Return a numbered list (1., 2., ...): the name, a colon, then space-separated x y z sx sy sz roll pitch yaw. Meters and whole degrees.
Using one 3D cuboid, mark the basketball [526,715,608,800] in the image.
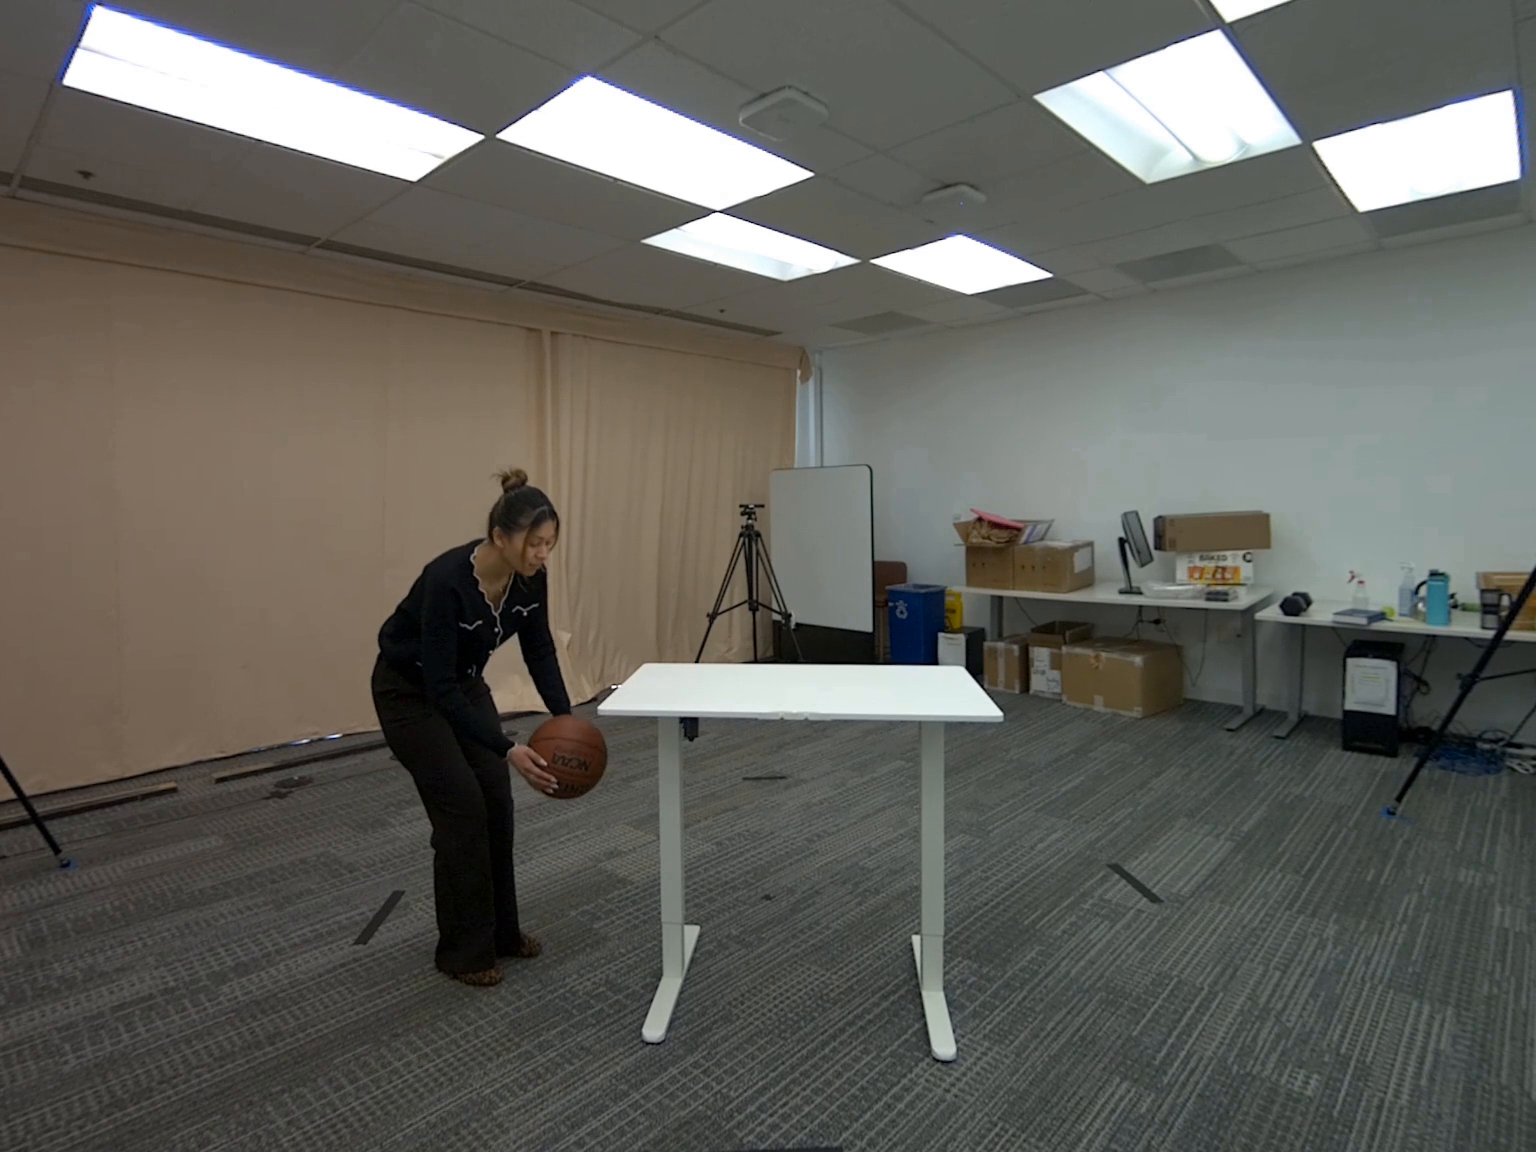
1. basketball: -0.578 0.527 2.413 0.236 0.235 0.237 -1 4 -2
